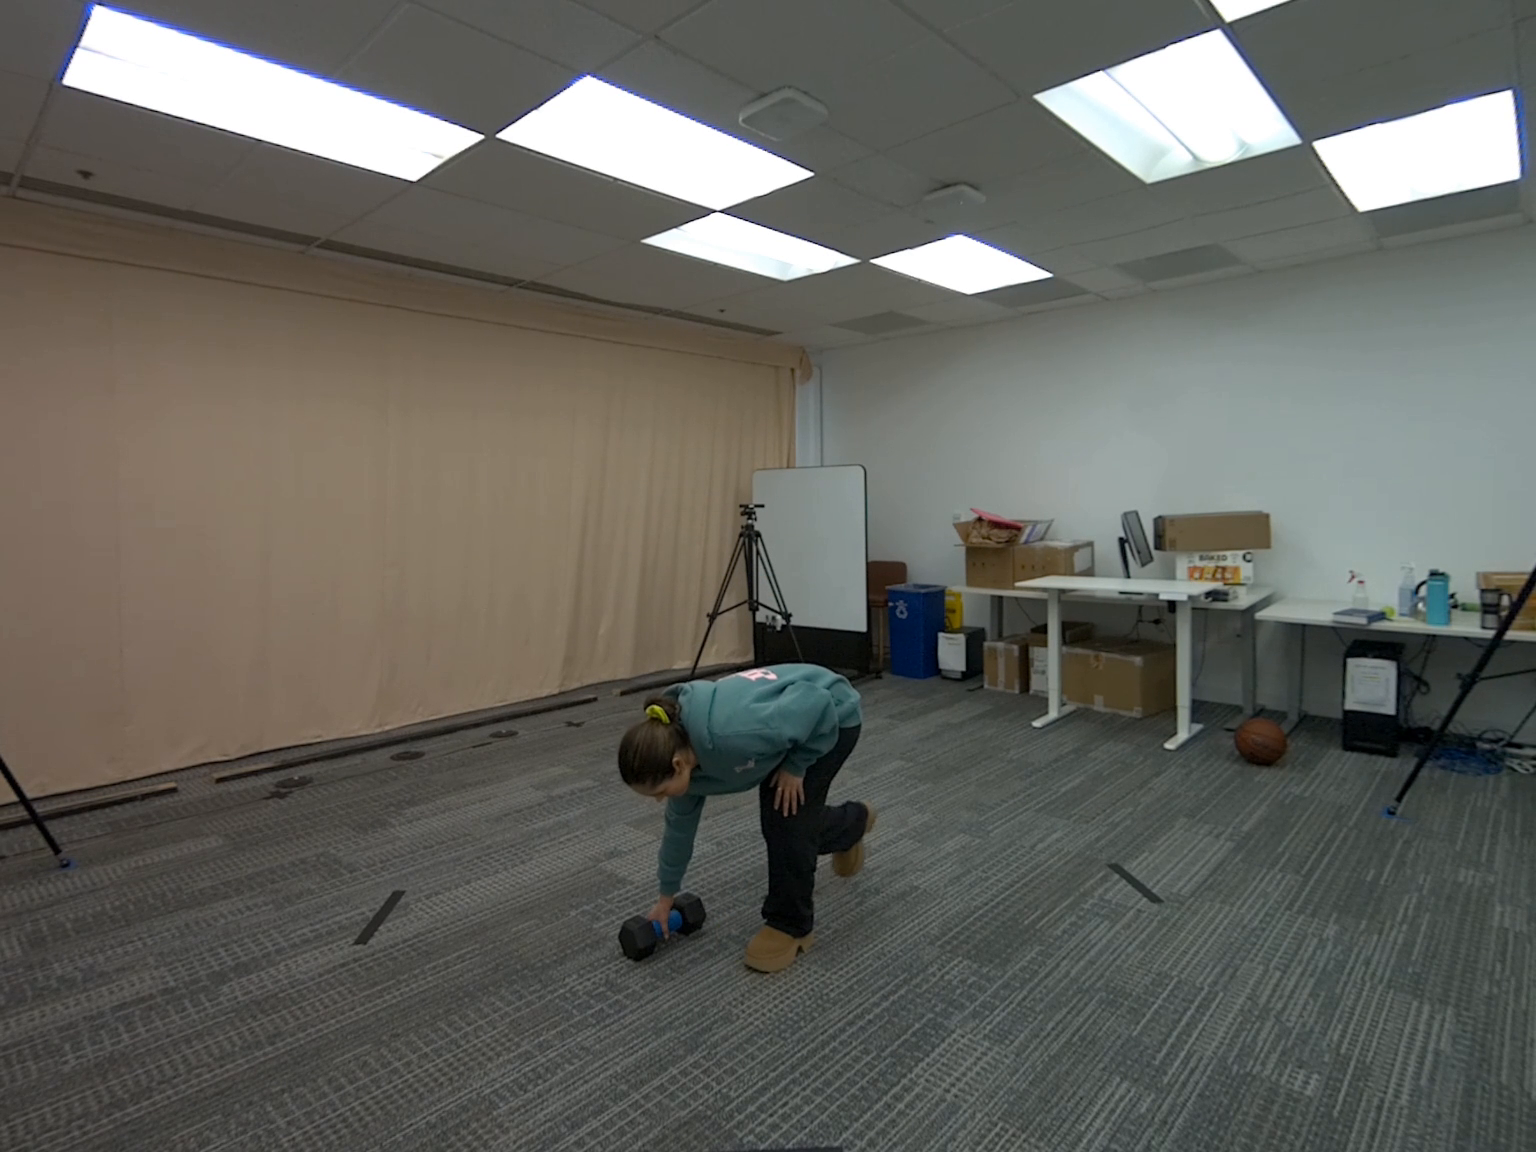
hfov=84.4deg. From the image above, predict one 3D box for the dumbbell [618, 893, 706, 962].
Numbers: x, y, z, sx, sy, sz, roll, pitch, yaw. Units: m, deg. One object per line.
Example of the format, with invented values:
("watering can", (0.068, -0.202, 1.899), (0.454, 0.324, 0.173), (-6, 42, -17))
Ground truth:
("dumbbell", (-0.338, 1.125, 2.697), (0.285, 0.125, 0.110), (-5, -28, -44))
